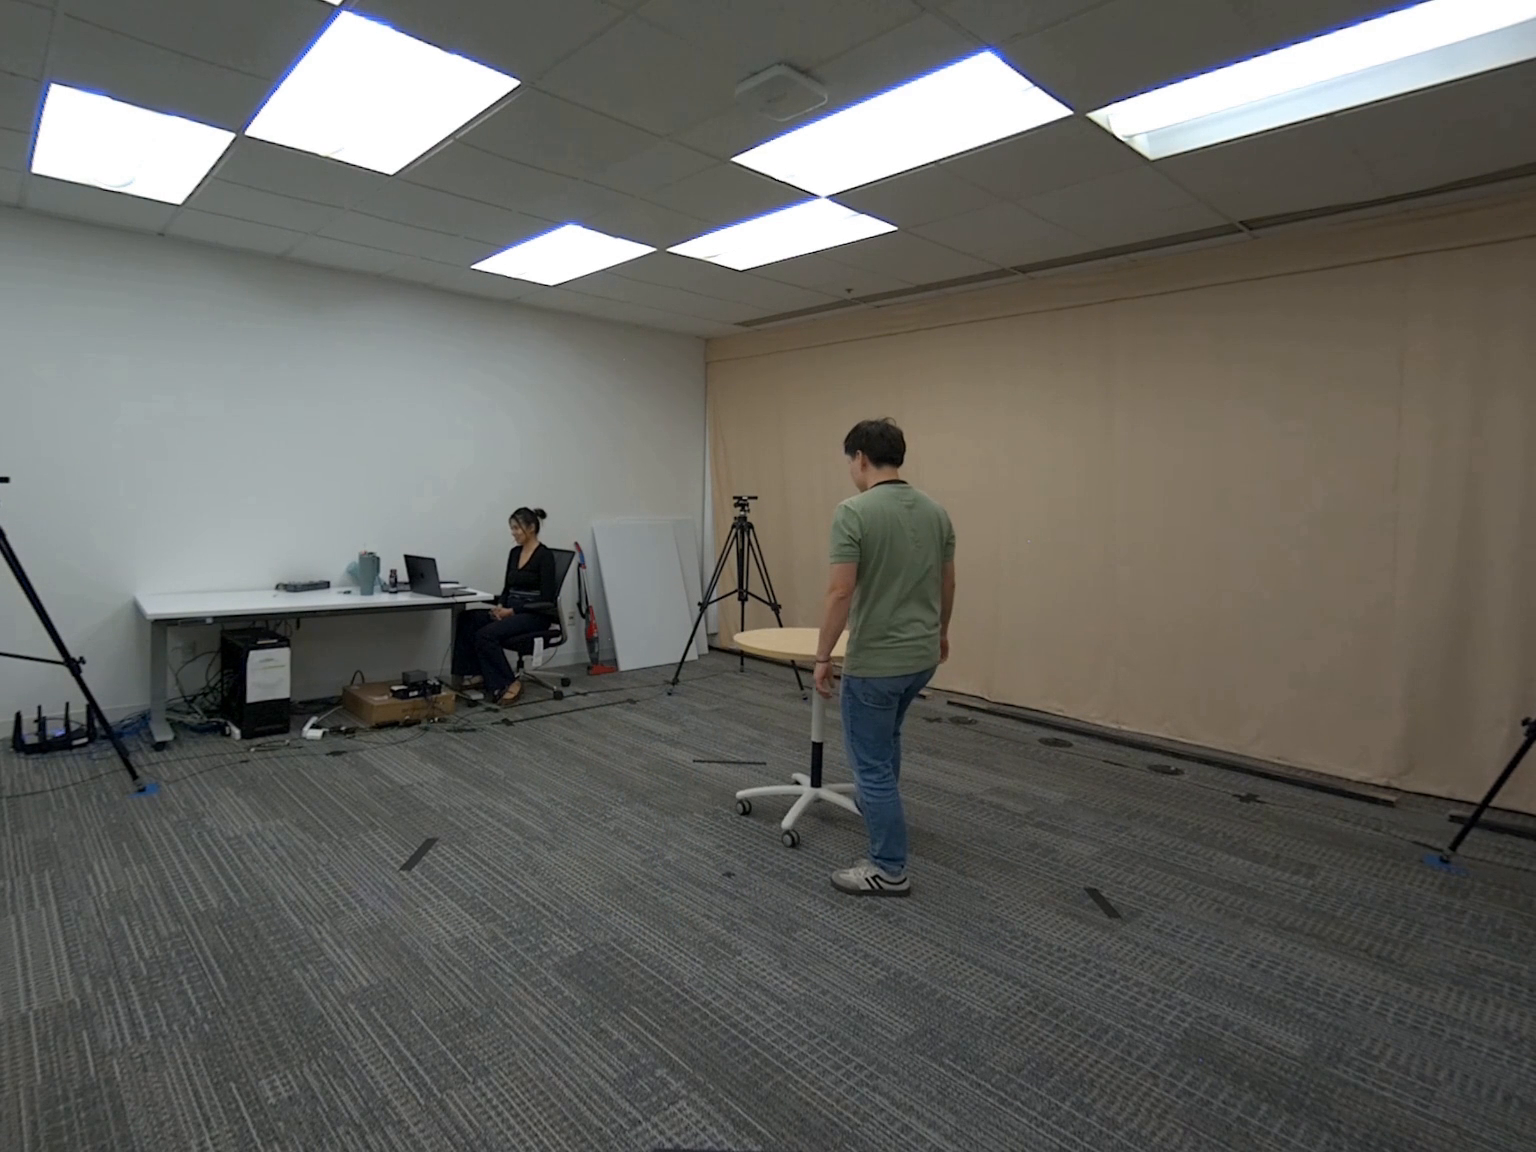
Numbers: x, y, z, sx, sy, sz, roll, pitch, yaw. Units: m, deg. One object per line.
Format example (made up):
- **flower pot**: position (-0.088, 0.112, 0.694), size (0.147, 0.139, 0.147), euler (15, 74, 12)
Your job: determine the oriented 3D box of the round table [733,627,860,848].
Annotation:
- **round table**: position (0.205, 0.674, 3.664), size (0.763, 0.792, 0.766), euler (2, 3, -1)
